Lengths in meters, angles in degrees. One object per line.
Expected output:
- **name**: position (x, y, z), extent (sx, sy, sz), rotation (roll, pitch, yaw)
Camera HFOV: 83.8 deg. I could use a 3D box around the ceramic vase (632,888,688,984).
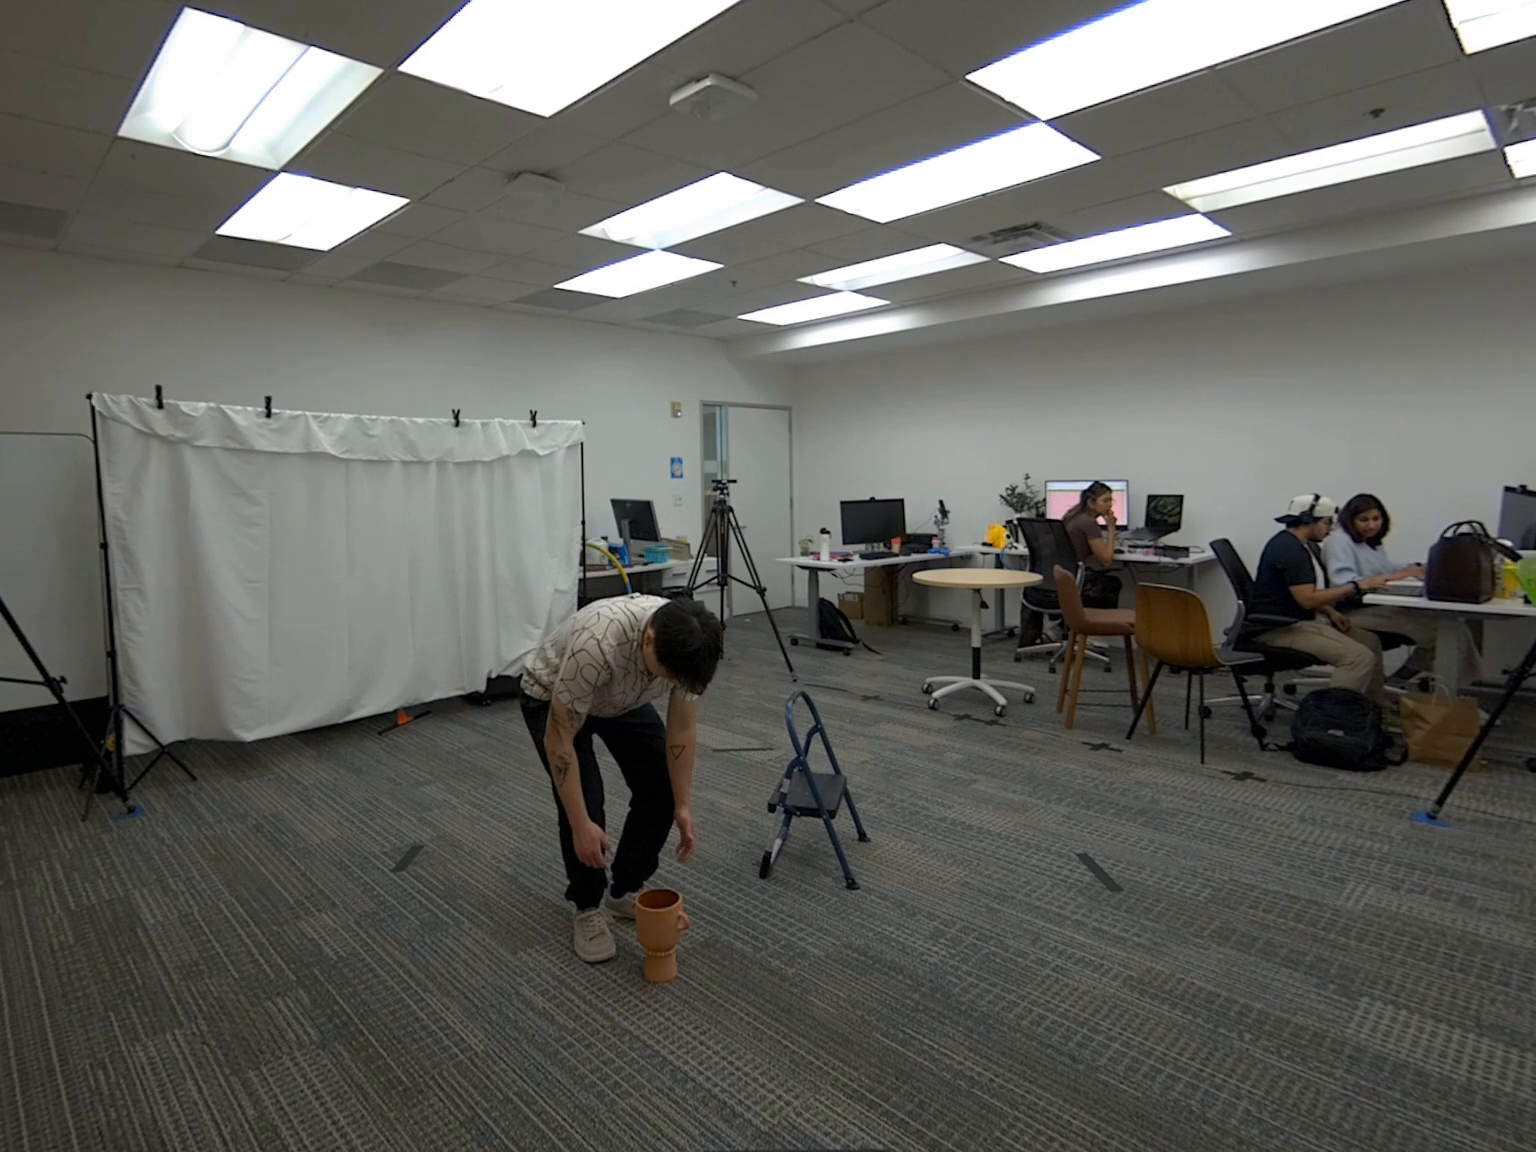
- **ceramic vase**: position (-0.297, 1.023, 2.423), extent (0.132, 0.219, 0.163), rotation (-2, 6, -24)
